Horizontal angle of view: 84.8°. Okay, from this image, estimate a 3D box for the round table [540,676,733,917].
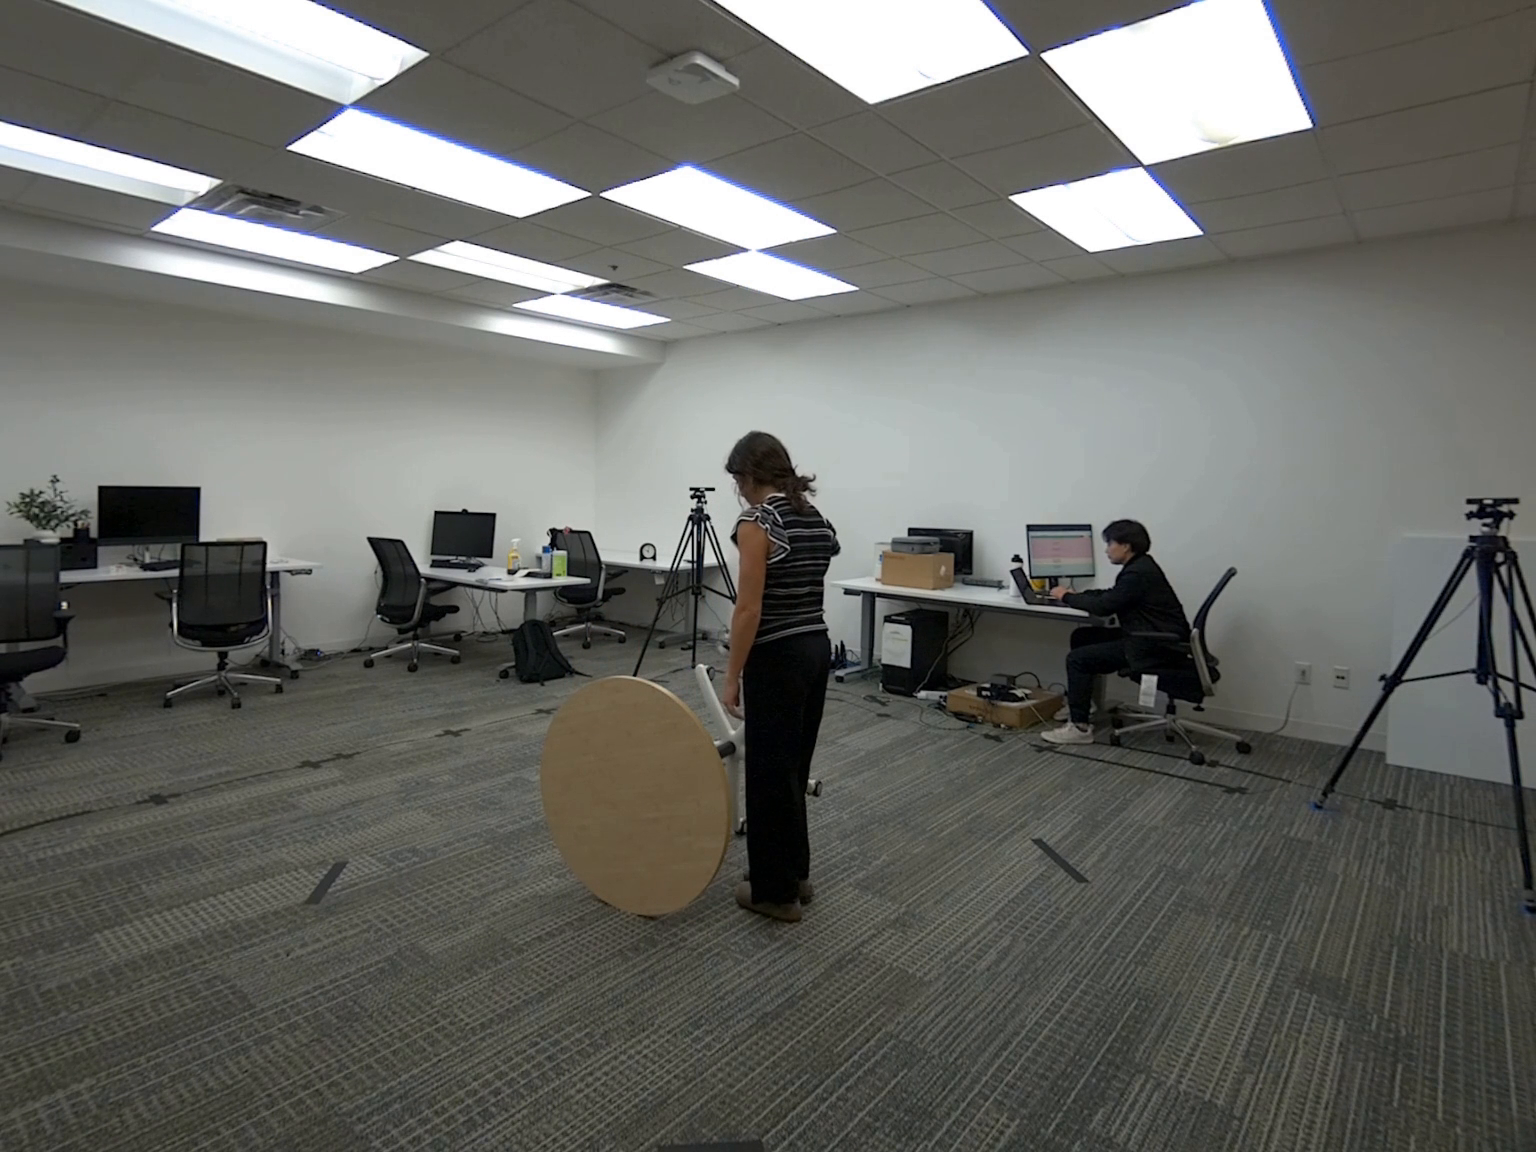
[{"bbox_3d":[-0.284,0.693,3.104,0.787,0.762,0.772,3,3,31],"label":"round table"}]
